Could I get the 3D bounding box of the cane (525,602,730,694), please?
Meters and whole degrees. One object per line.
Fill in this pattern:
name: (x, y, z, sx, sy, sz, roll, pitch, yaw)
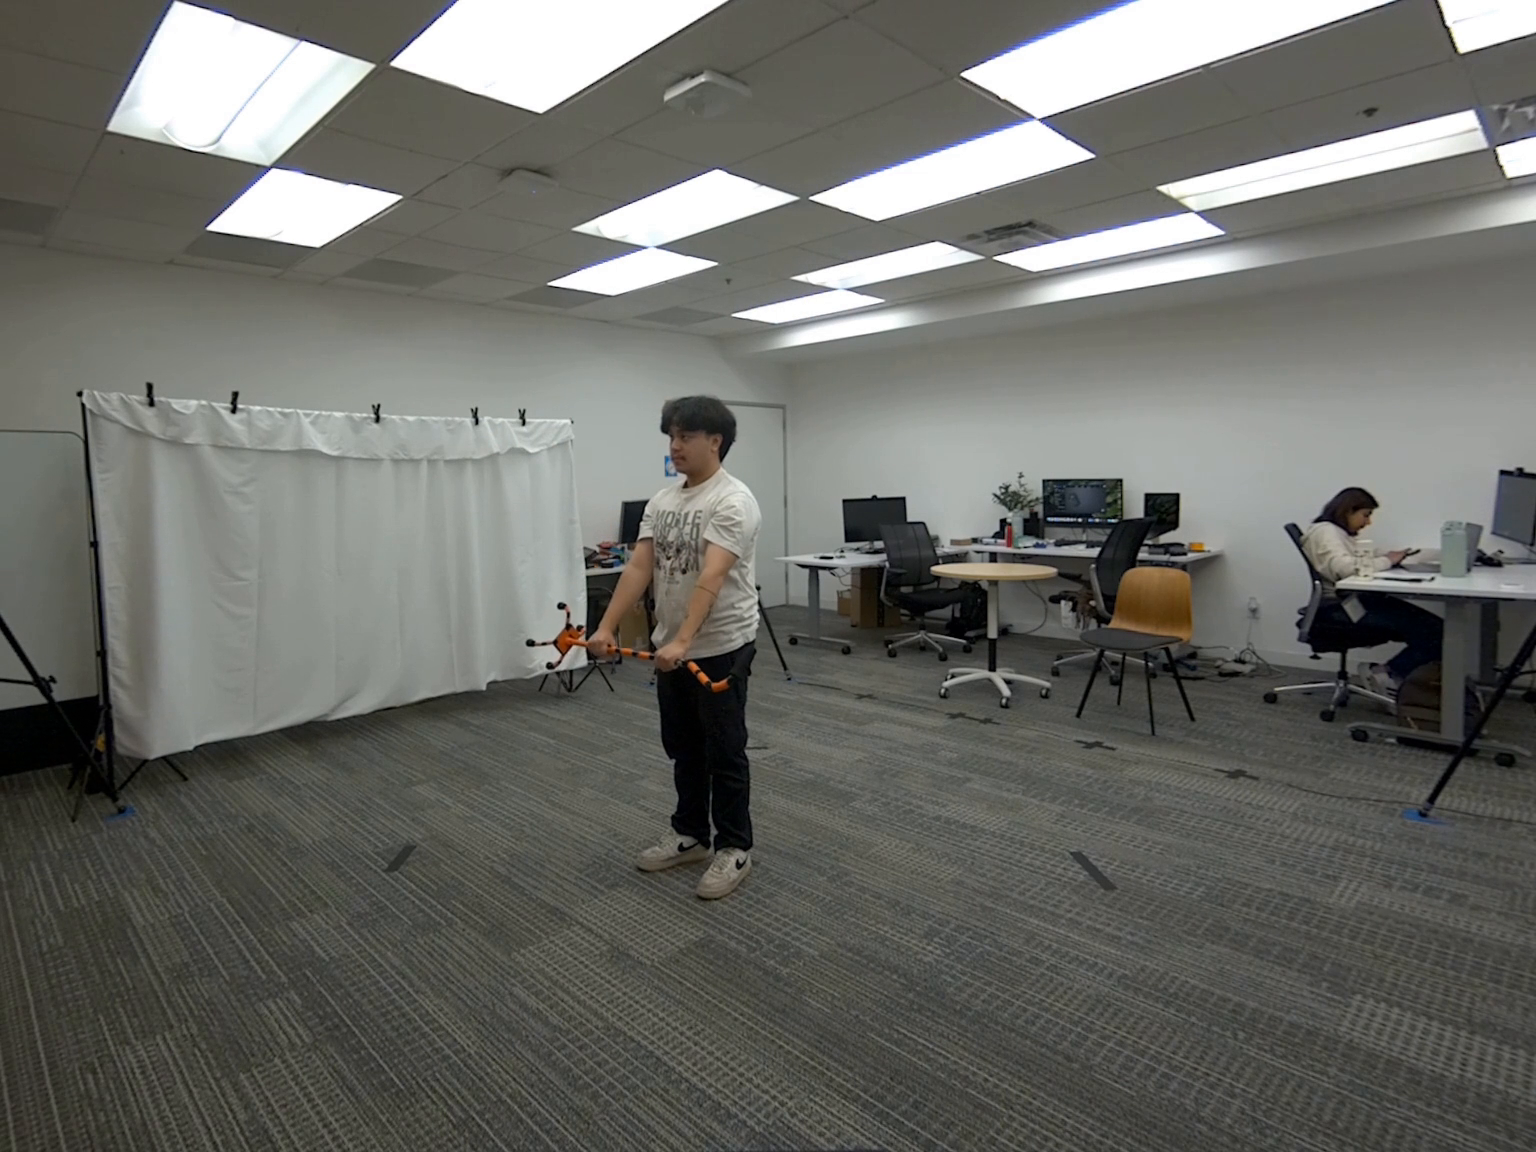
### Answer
cane: (-0.423, 0.246, 2.735, 0.936, 0.207, 0.146, 6, -38, 43)
